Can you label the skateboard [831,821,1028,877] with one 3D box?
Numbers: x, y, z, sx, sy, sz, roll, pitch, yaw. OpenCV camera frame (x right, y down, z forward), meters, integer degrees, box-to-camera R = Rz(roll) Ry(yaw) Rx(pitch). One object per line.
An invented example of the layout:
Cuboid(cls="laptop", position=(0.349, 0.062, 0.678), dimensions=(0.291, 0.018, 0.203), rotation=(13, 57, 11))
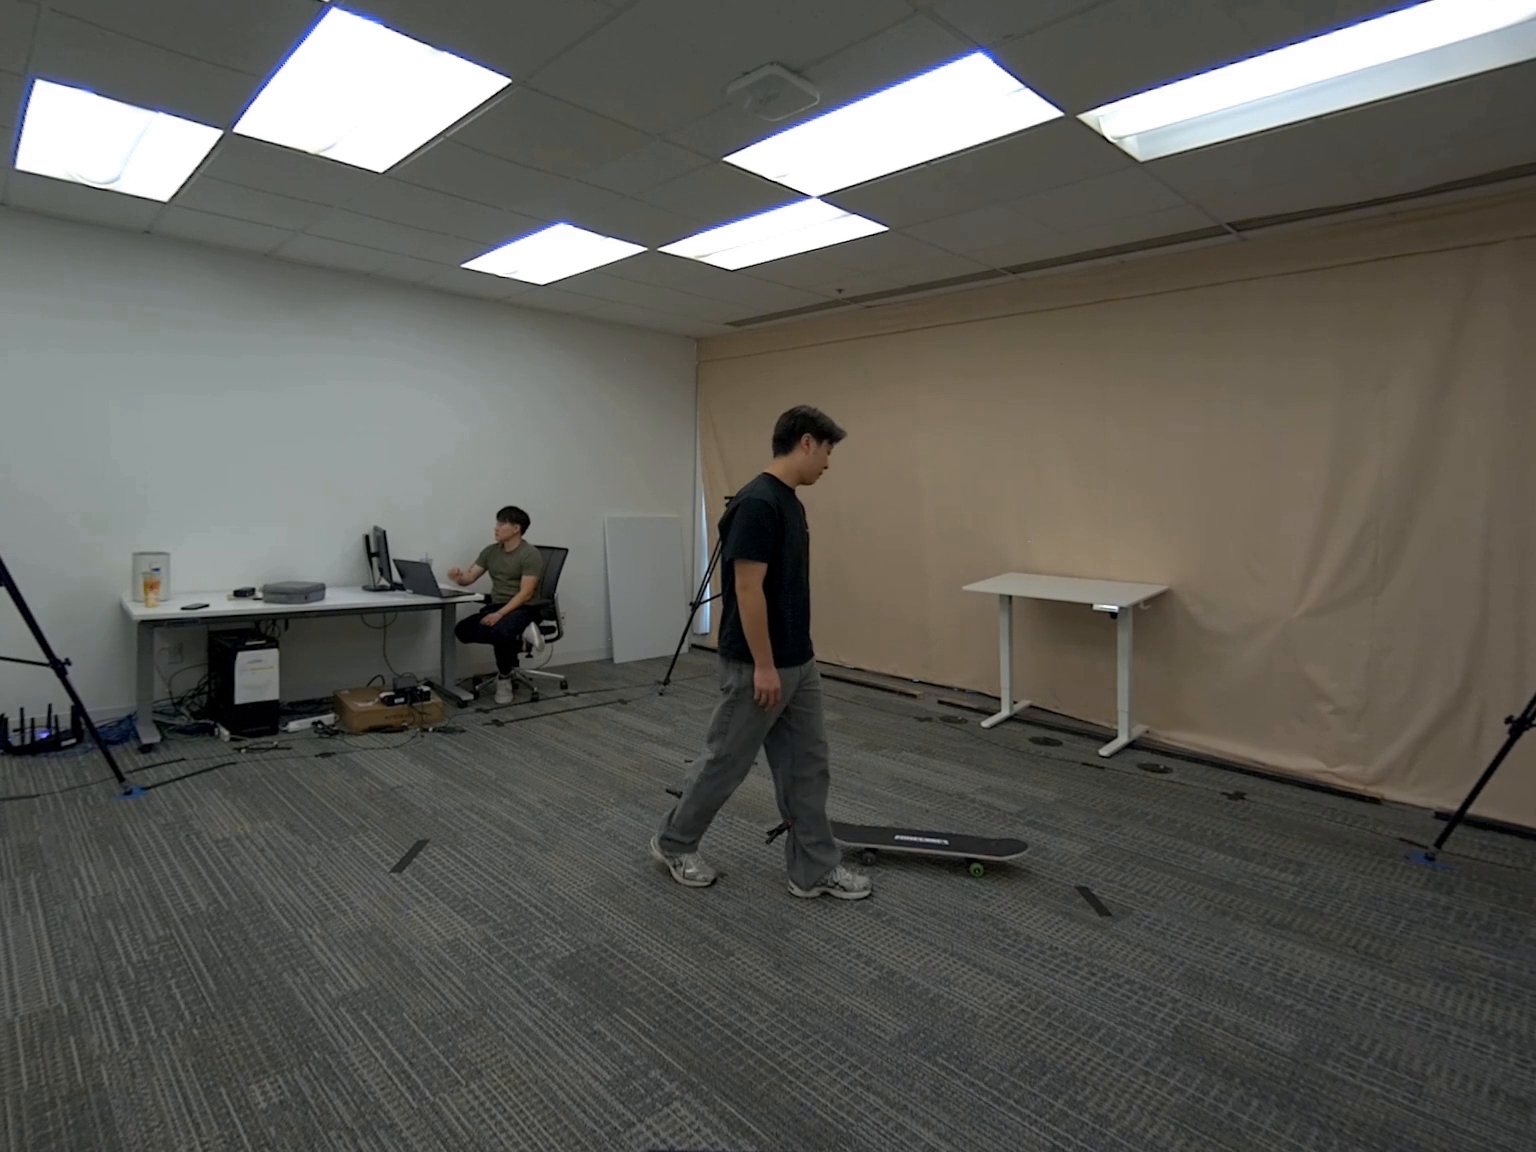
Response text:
Cuboid(cls="skateboard", position=(0.585, 1.054, 3.256), dimensions=(0.791, 0.110, 0.192), rotation=(2, 3, 9))
